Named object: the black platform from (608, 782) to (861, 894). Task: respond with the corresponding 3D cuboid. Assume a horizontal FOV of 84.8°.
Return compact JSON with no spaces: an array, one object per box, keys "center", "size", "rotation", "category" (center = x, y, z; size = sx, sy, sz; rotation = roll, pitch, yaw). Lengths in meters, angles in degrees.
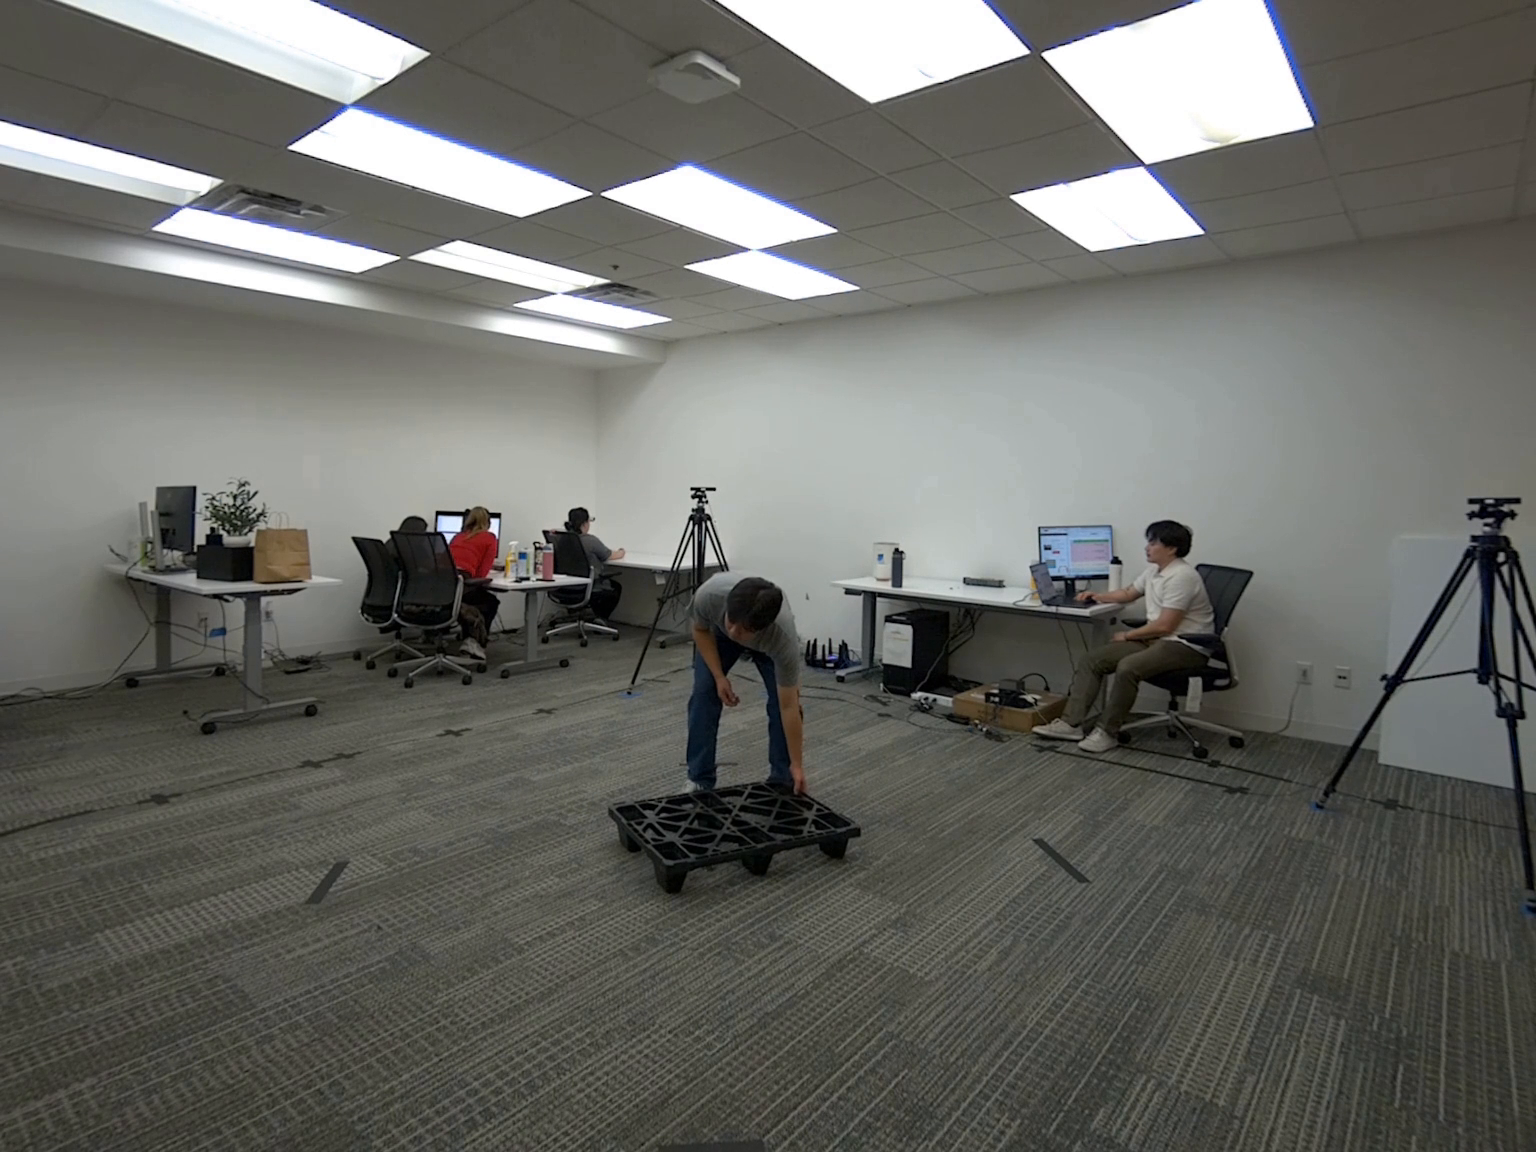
[{"center":[-0.152,0.978,3.269],"size":[0.785,0.142,0.624],"rotation":[-3,7,-29],"category":"black platform"}]
